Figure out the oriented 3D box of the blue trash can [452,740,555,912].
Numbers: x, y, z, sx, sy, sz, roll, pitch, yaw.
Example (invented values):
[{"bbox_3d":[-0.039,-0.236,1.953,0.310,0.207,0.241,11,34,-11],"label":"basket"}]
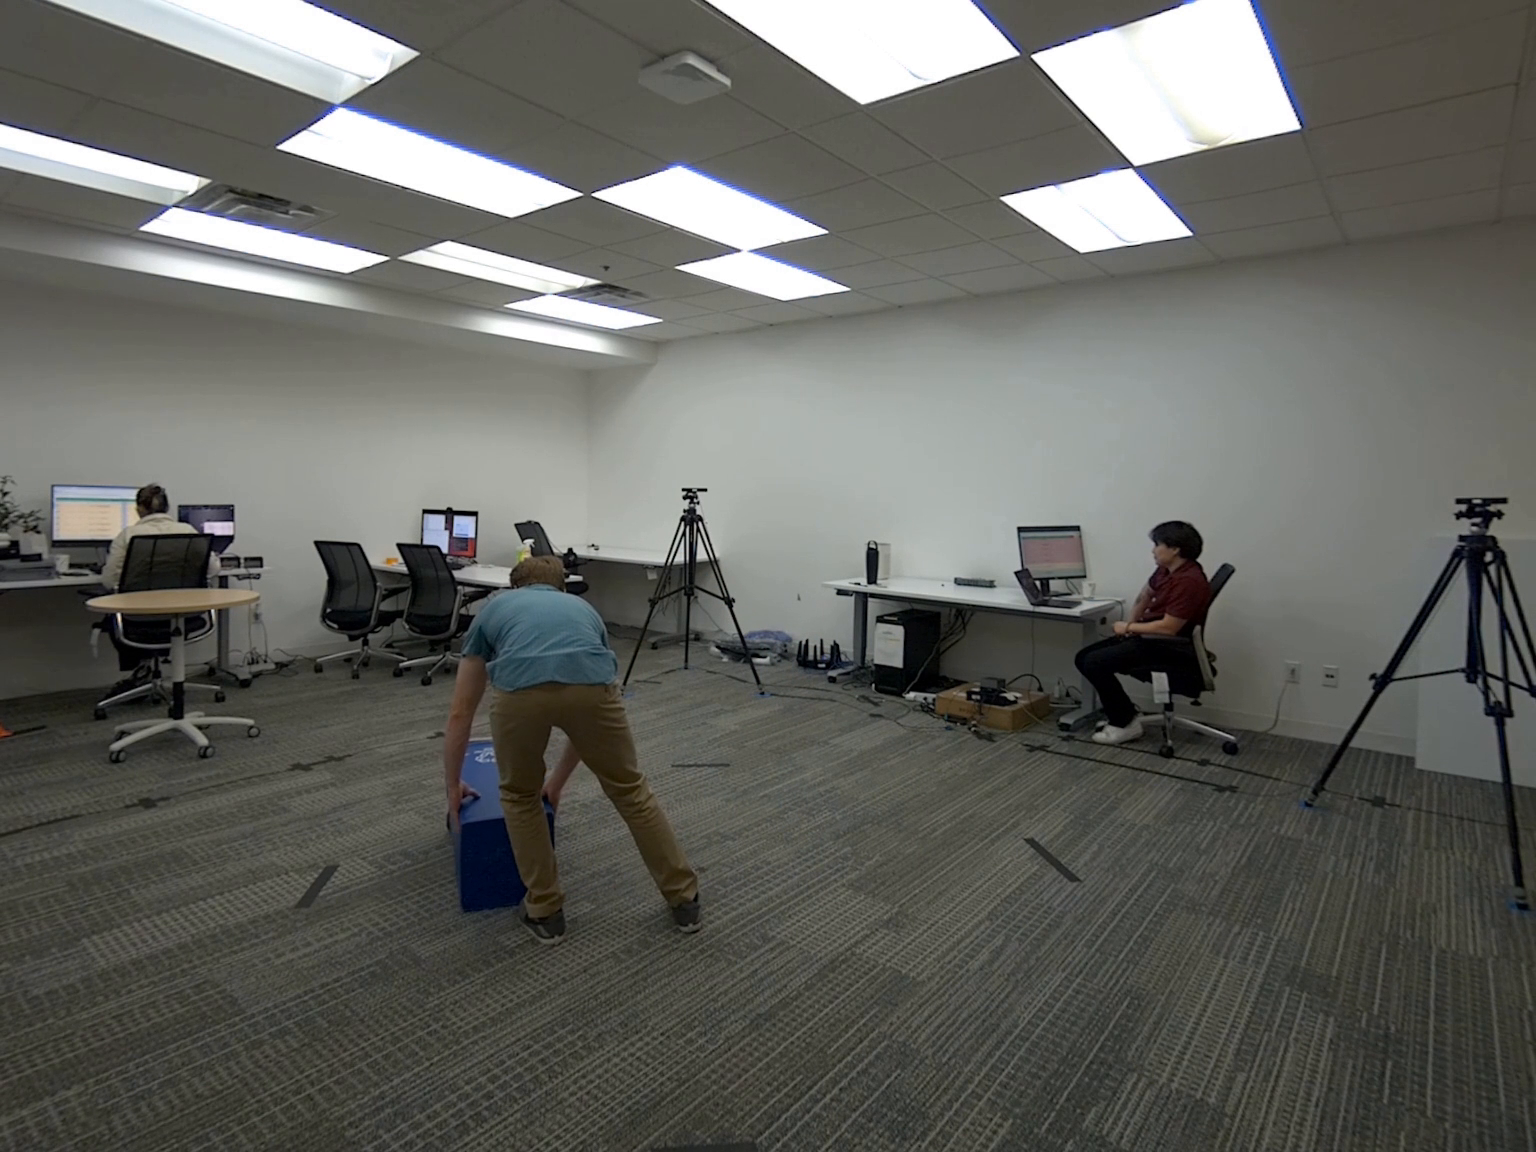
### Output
[{"bbox_3d":[-0.998,0.888,3.131,0.366,0.376,0.733,-1,8,-22],"label":"blue trash can"}]
